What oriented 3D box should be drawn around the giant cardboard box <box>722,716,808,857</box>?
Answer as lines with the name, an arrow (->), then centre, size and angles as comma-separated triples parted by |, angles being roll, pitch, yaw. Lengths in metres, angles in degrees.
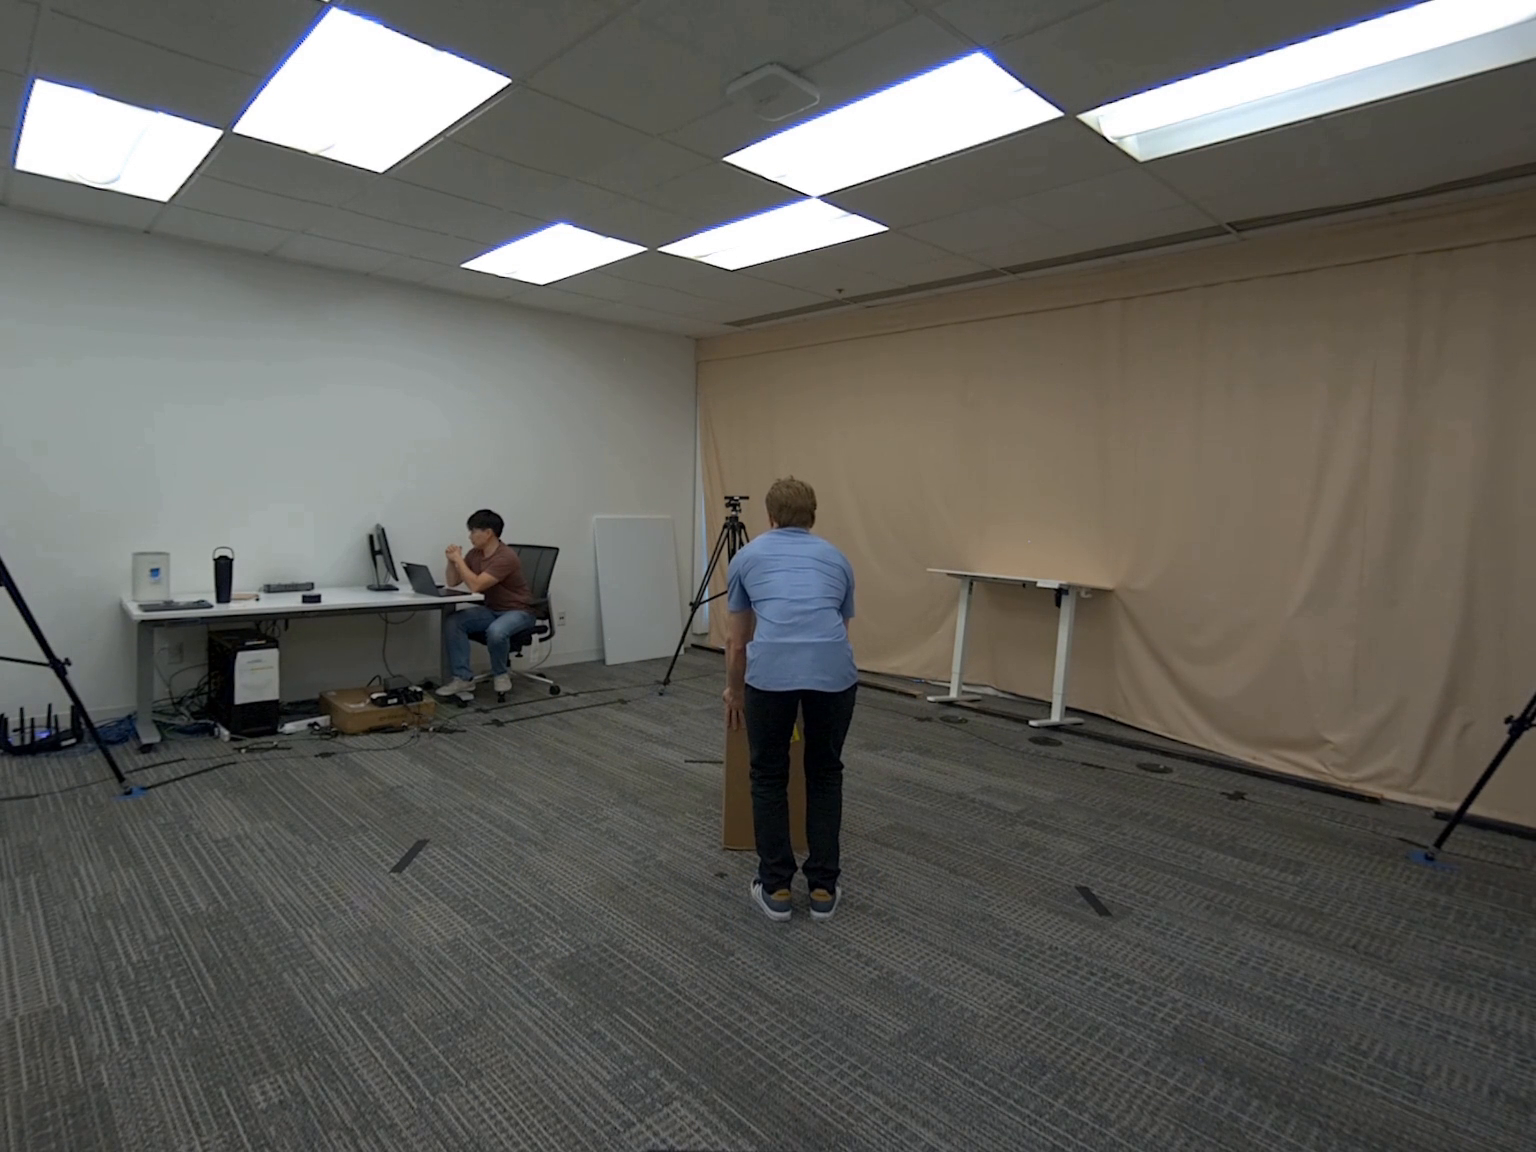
giant cardboard box -> 0.034, 0.558, 3.592 | 0.426, 1.024, 0.579 | 2, 3, -2
